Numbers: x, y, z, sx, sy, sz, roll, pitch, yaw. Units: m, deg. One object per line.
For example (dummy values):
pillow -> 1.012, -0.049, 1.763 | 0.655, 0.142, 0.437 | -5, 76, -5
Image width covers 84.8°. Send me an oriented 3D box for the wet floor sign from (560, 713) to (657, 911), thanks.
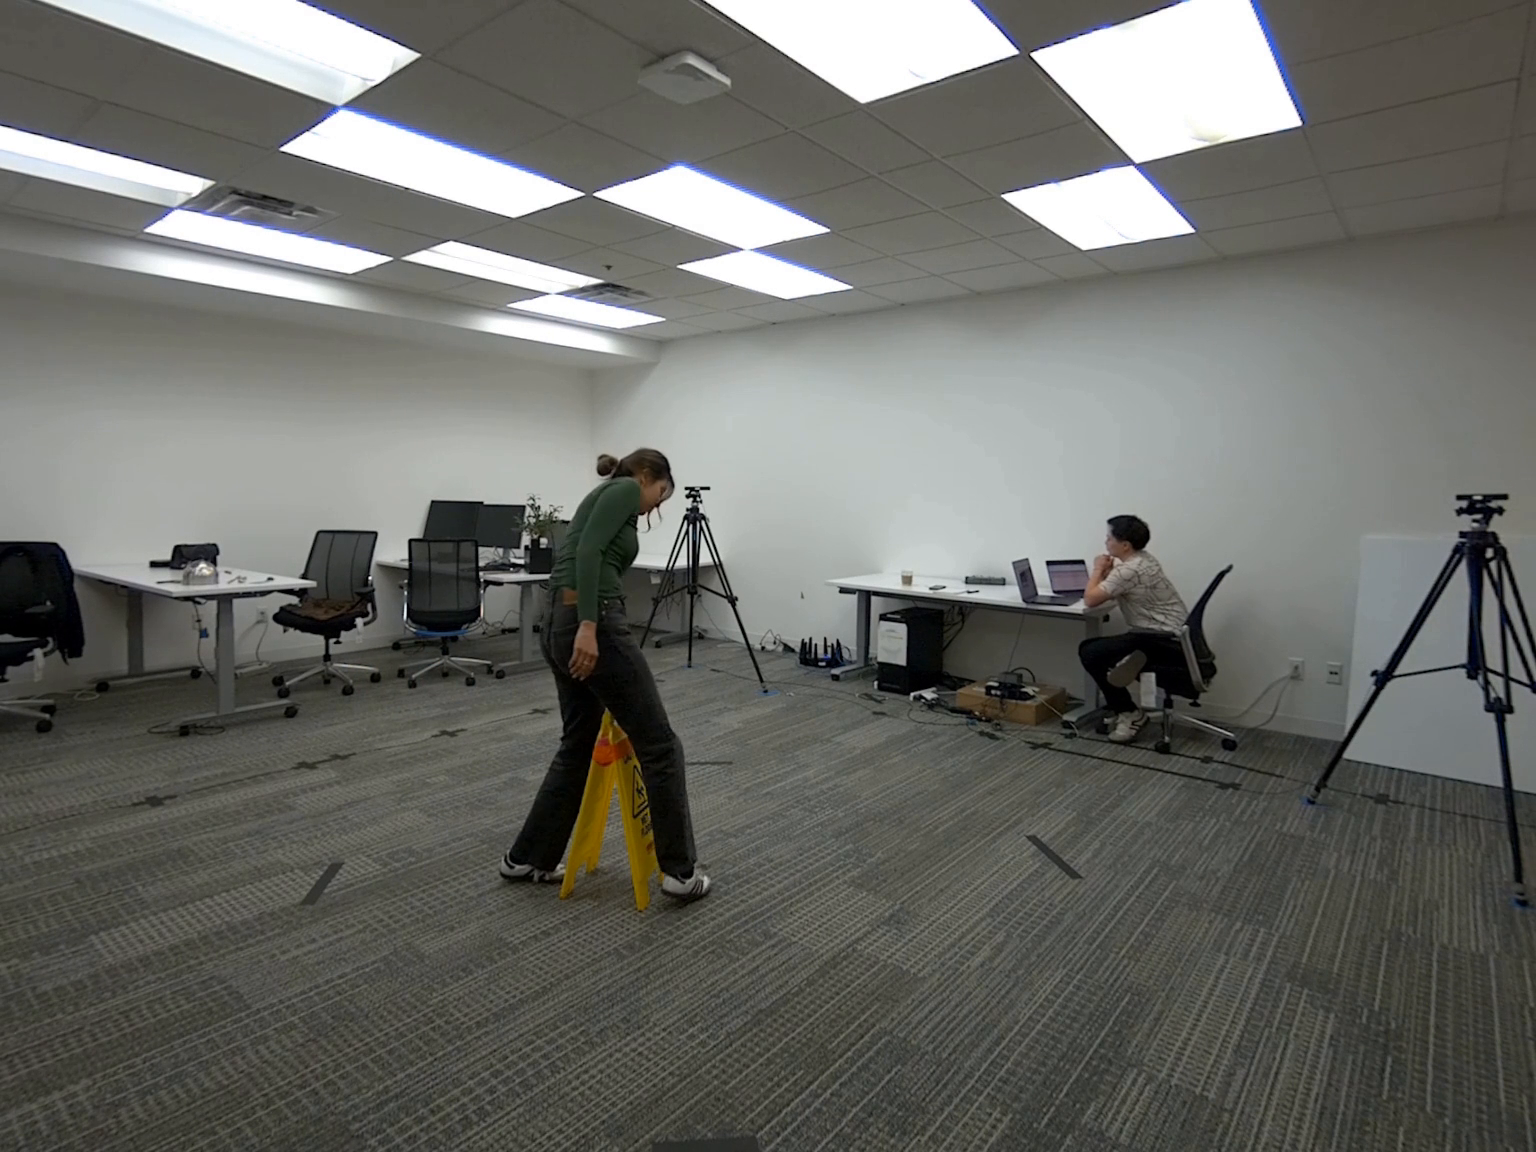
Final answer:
wet floor sign -> -0.527, 0.756, 2.931 | 0.294, 0.644, 0.278 | 2, 4, 14
